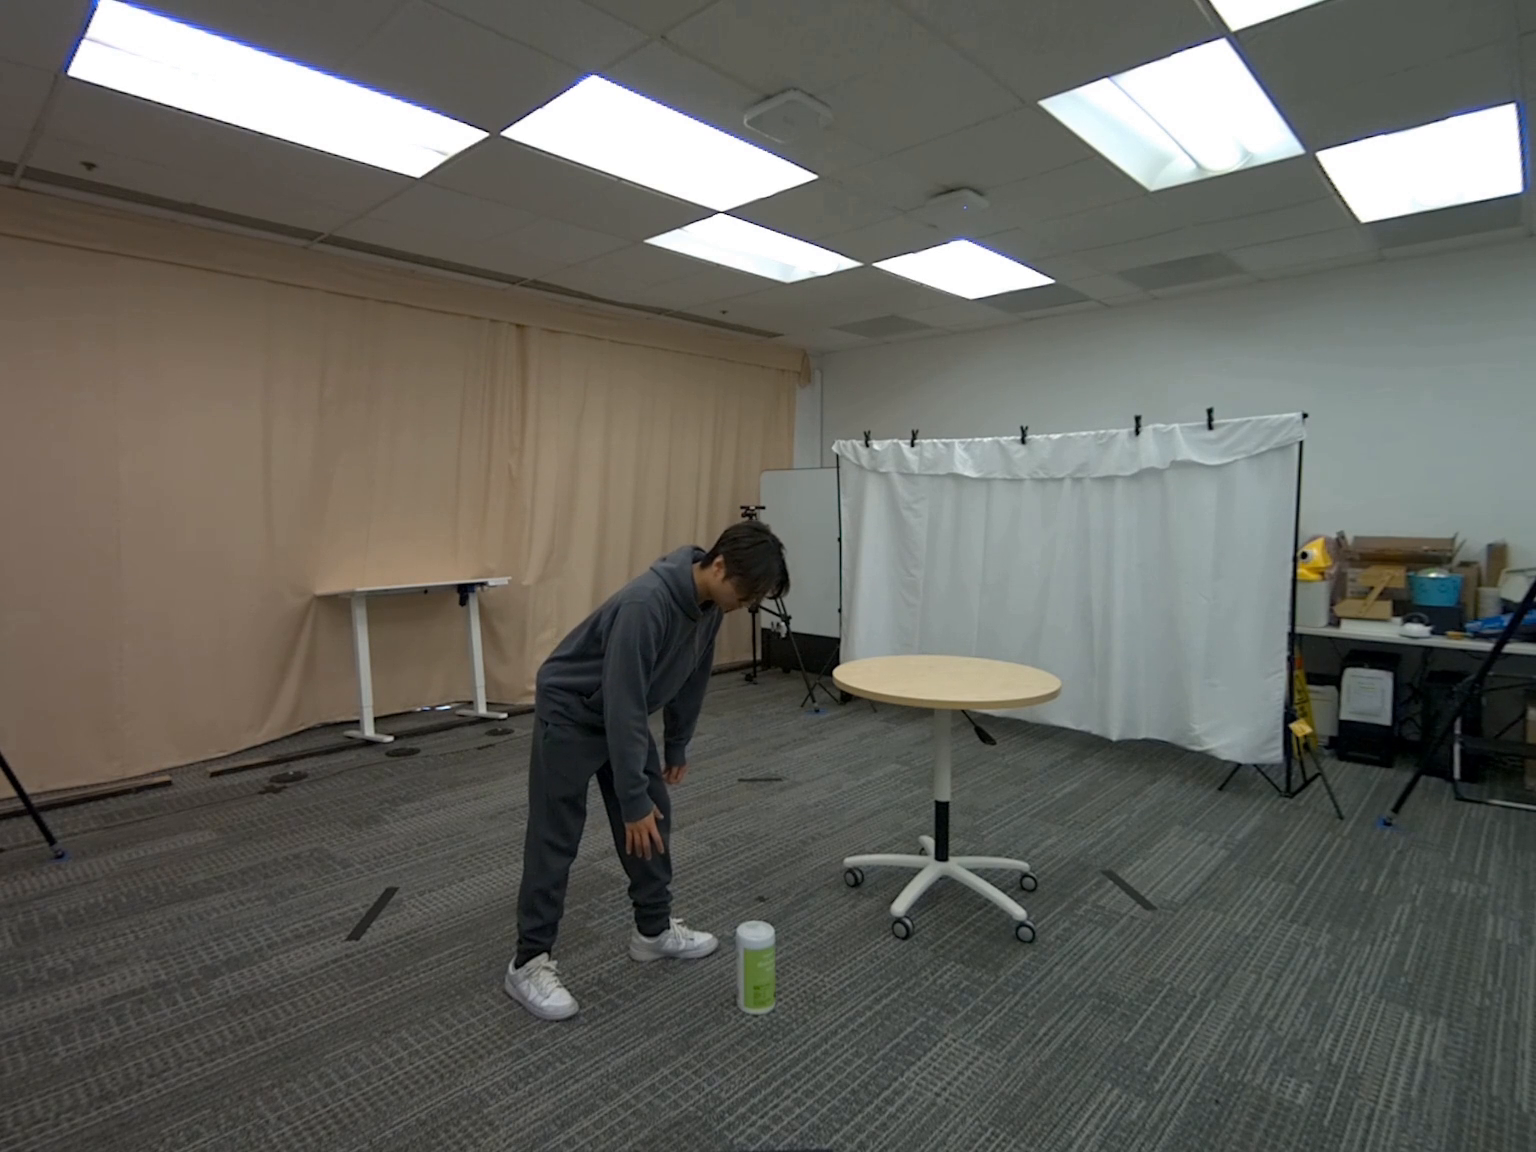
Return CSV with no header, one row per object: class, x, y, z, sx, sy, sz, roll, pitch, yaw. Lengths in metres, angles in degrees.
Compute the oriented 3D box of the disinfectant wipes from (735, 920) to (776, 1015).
disinfectant wipes,-0.033,1.094,2.333,0.118,0.217,0.118,1,5,-2
